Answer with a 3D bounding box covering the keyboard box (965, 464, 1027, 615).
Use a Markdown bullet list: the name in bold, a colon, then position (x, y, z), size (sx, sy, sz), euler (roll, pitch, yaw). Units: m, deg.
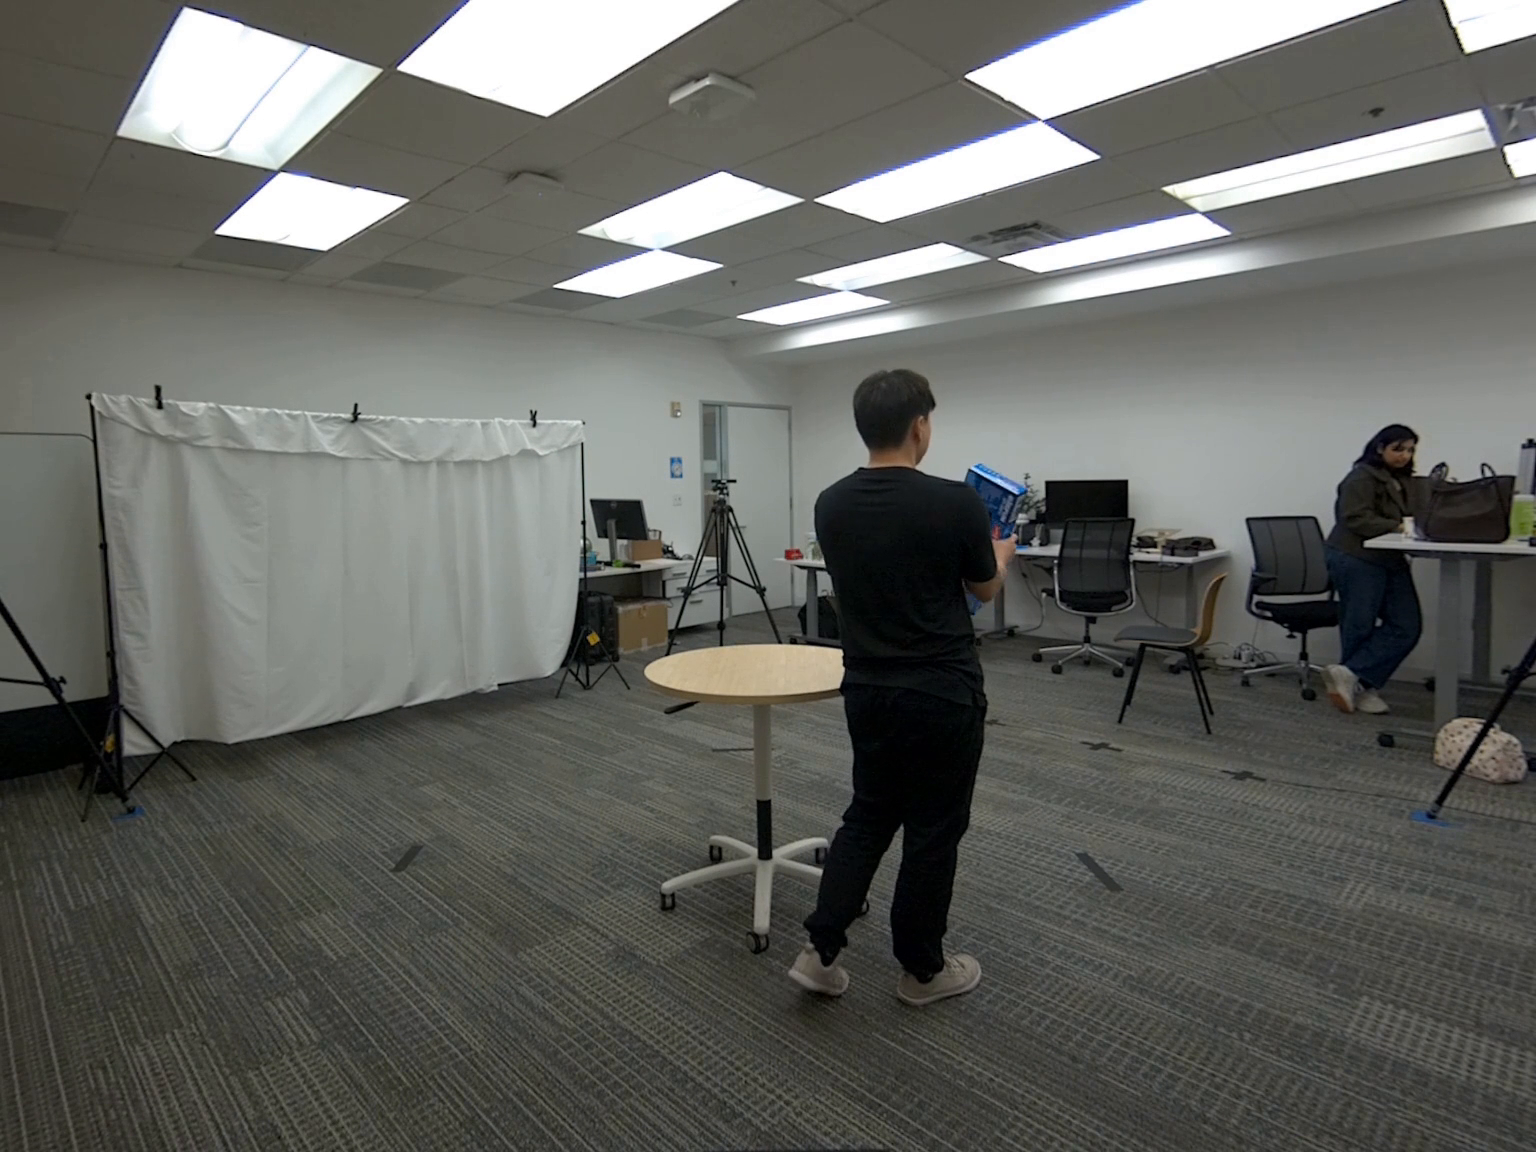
- **keyboard box**: position (0.635, -0.107, 2.594), size (0.058, 0.428, 0.182), euler (-20, 45, -37)
